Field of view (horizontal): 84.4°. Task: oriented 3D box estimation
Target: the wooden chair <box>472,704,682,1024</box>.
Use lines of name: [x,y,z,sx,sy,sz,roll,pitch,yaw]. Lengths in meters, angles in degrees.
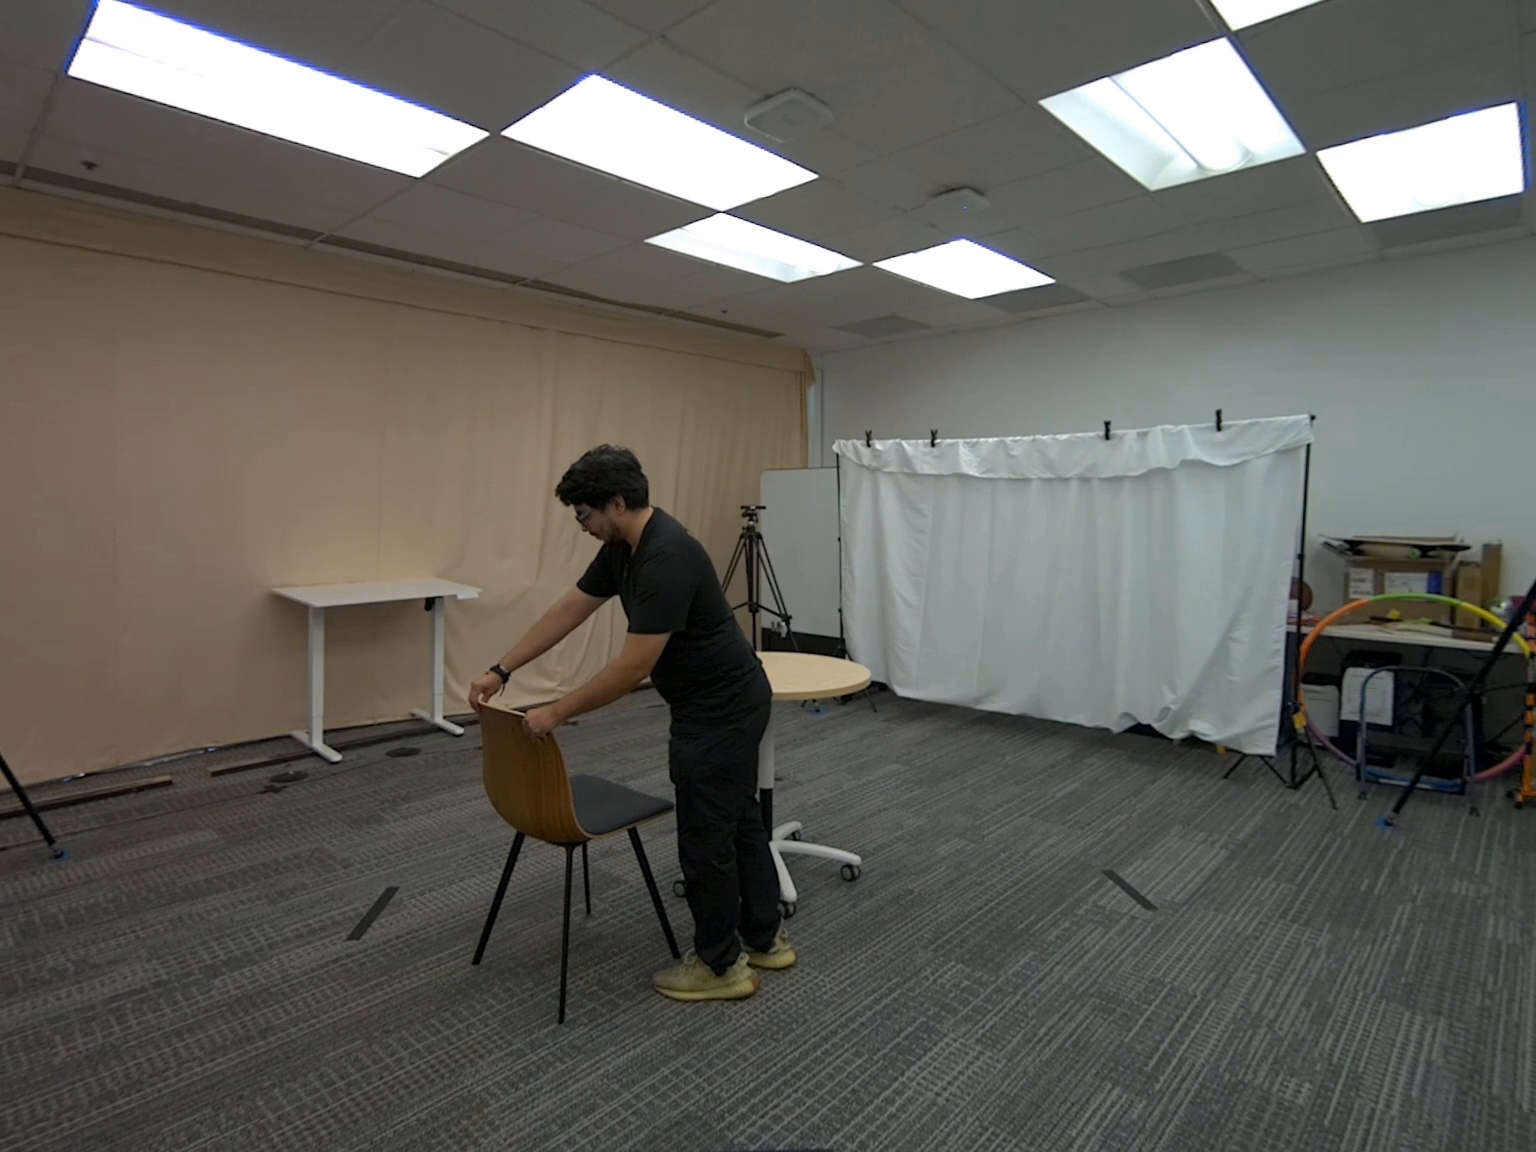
wooden chair: [-0.585,0.756,2.557,0.494,0.874,0.508,2,8,41]
